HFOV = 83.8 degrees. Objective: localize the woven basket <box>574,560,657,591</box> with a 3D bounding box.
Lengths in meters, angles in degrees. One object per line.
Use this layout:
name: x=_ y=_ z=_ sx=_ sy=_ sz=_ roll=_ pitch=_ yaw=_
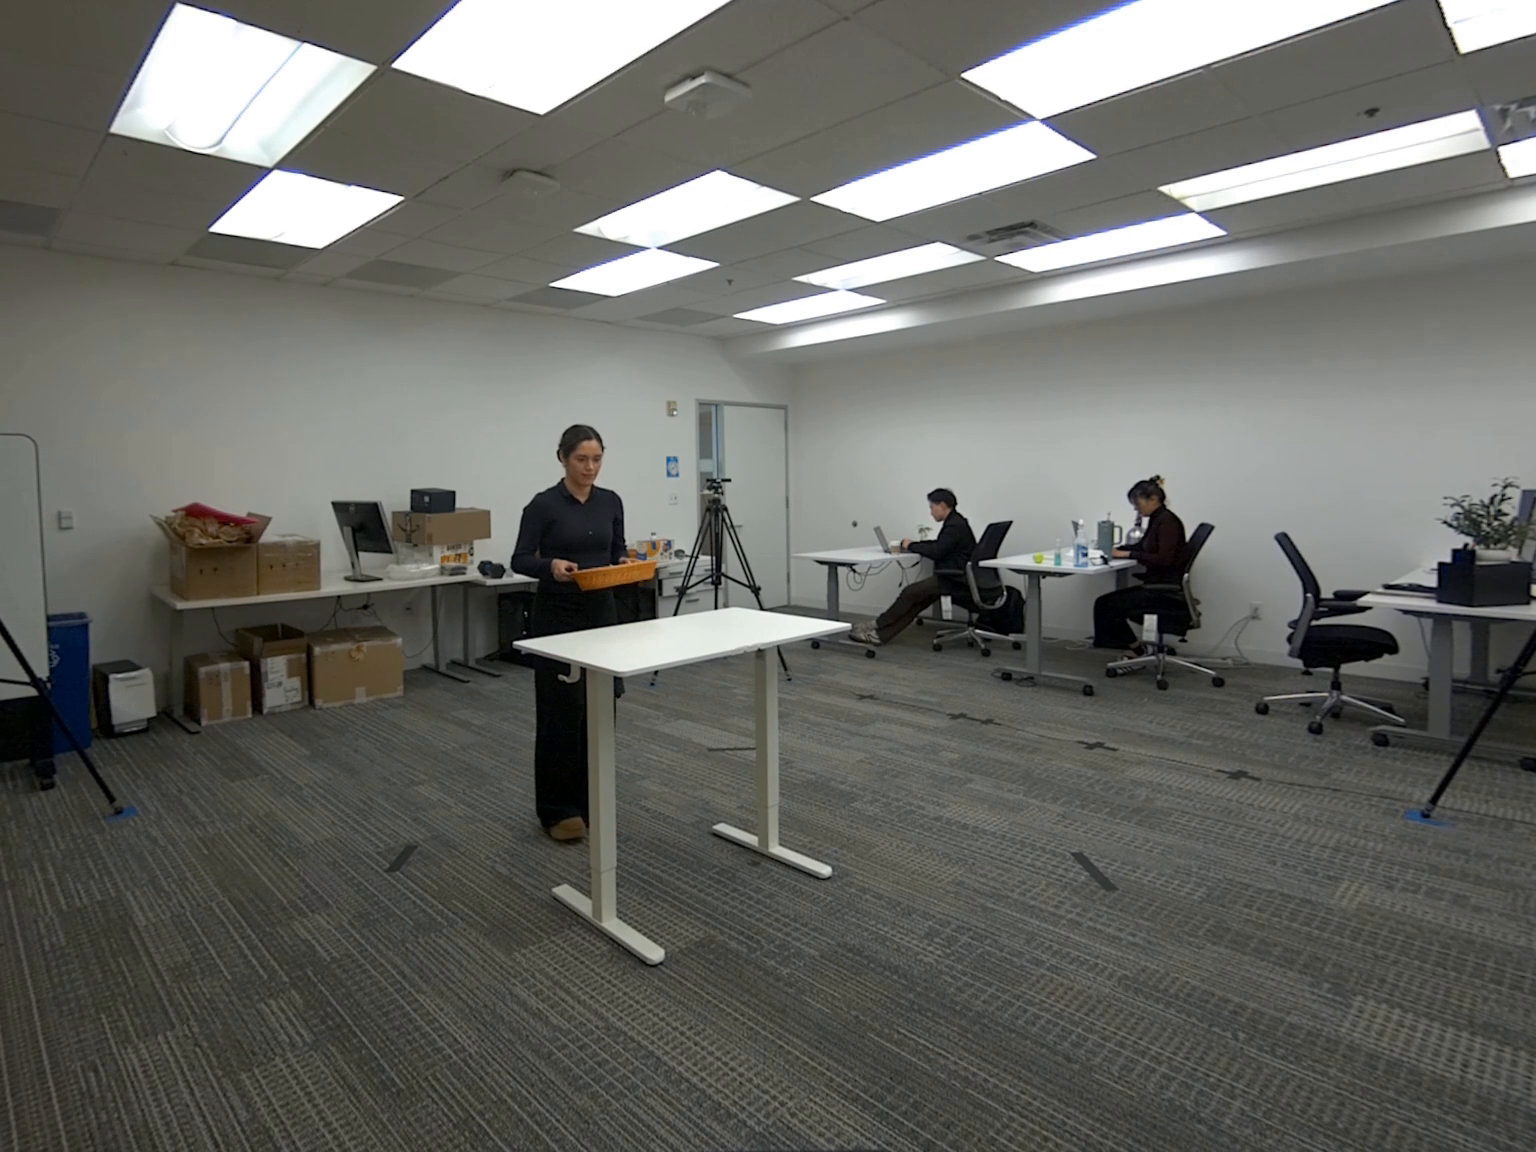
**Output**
woven basket: x=-0.629 y=0.005 z=3.252 sx=0.259 sy=0.073 sz=0.342 roll=-5 pitch=4 yaw=40
